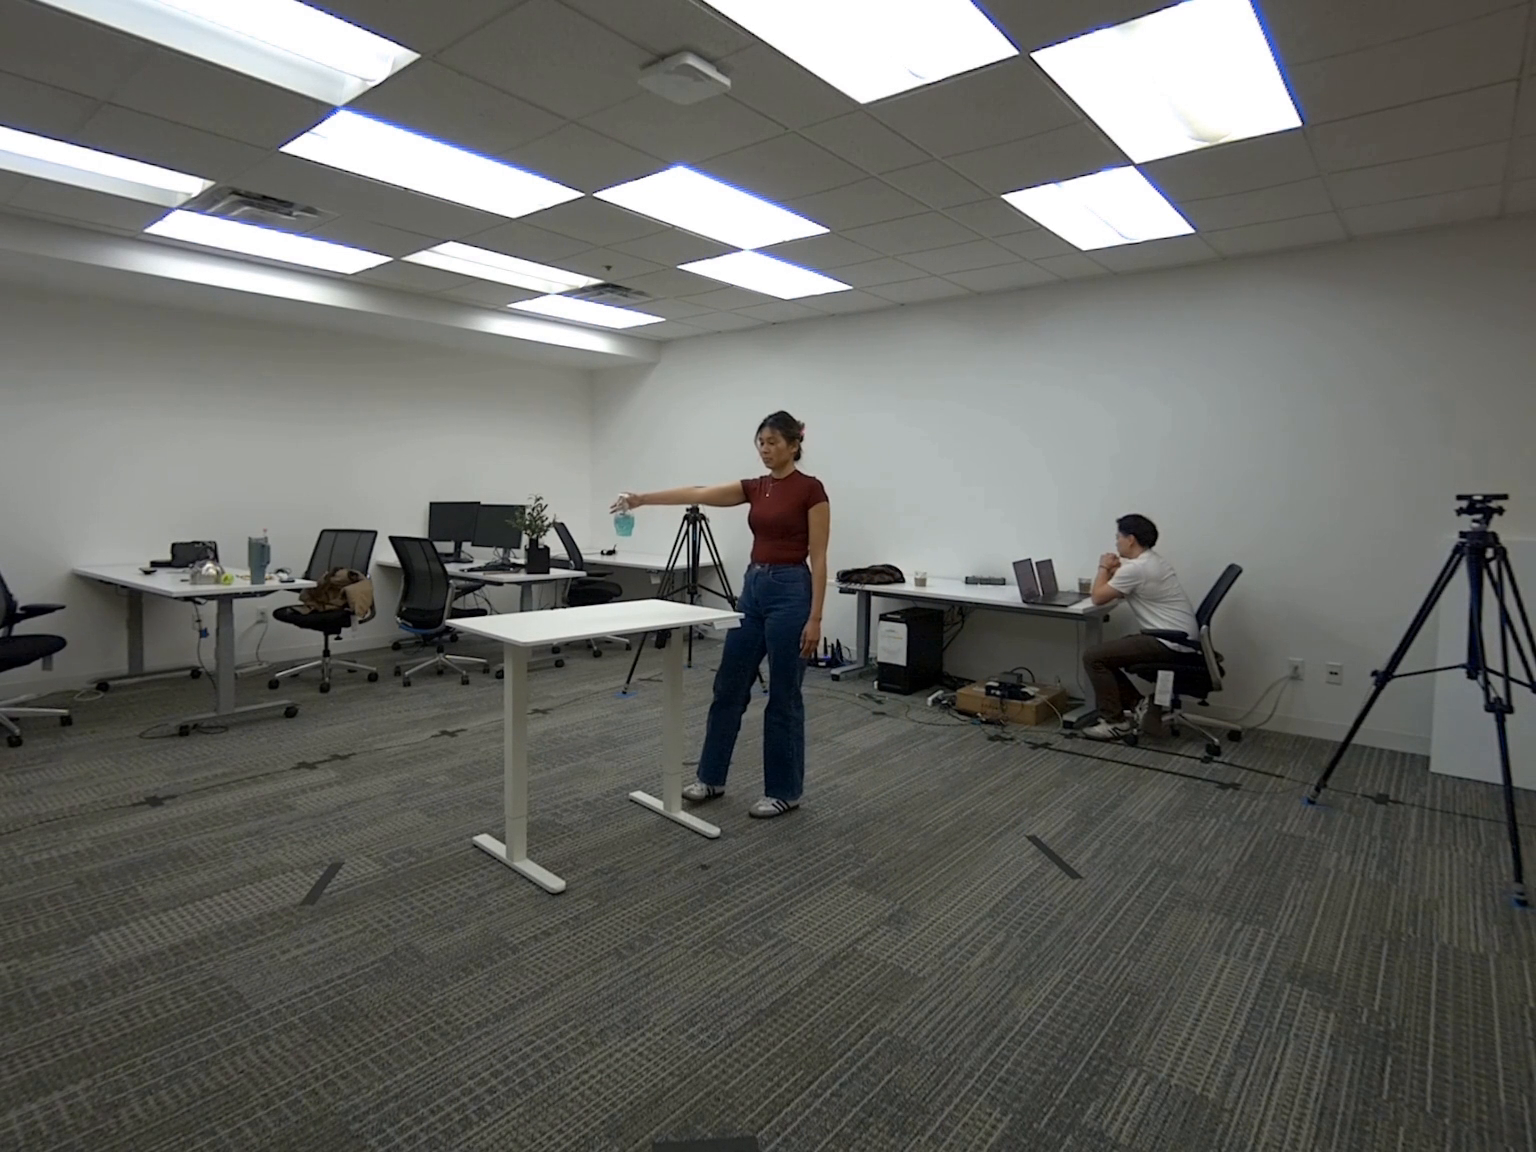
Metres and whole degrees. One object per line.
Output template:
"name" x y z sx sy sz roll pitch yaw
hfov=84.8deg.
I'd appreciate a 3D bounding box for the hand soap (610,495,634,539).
"hand soap" -0.592 -0.248 3.405 0.086 0.167 0.043 7 5 15
